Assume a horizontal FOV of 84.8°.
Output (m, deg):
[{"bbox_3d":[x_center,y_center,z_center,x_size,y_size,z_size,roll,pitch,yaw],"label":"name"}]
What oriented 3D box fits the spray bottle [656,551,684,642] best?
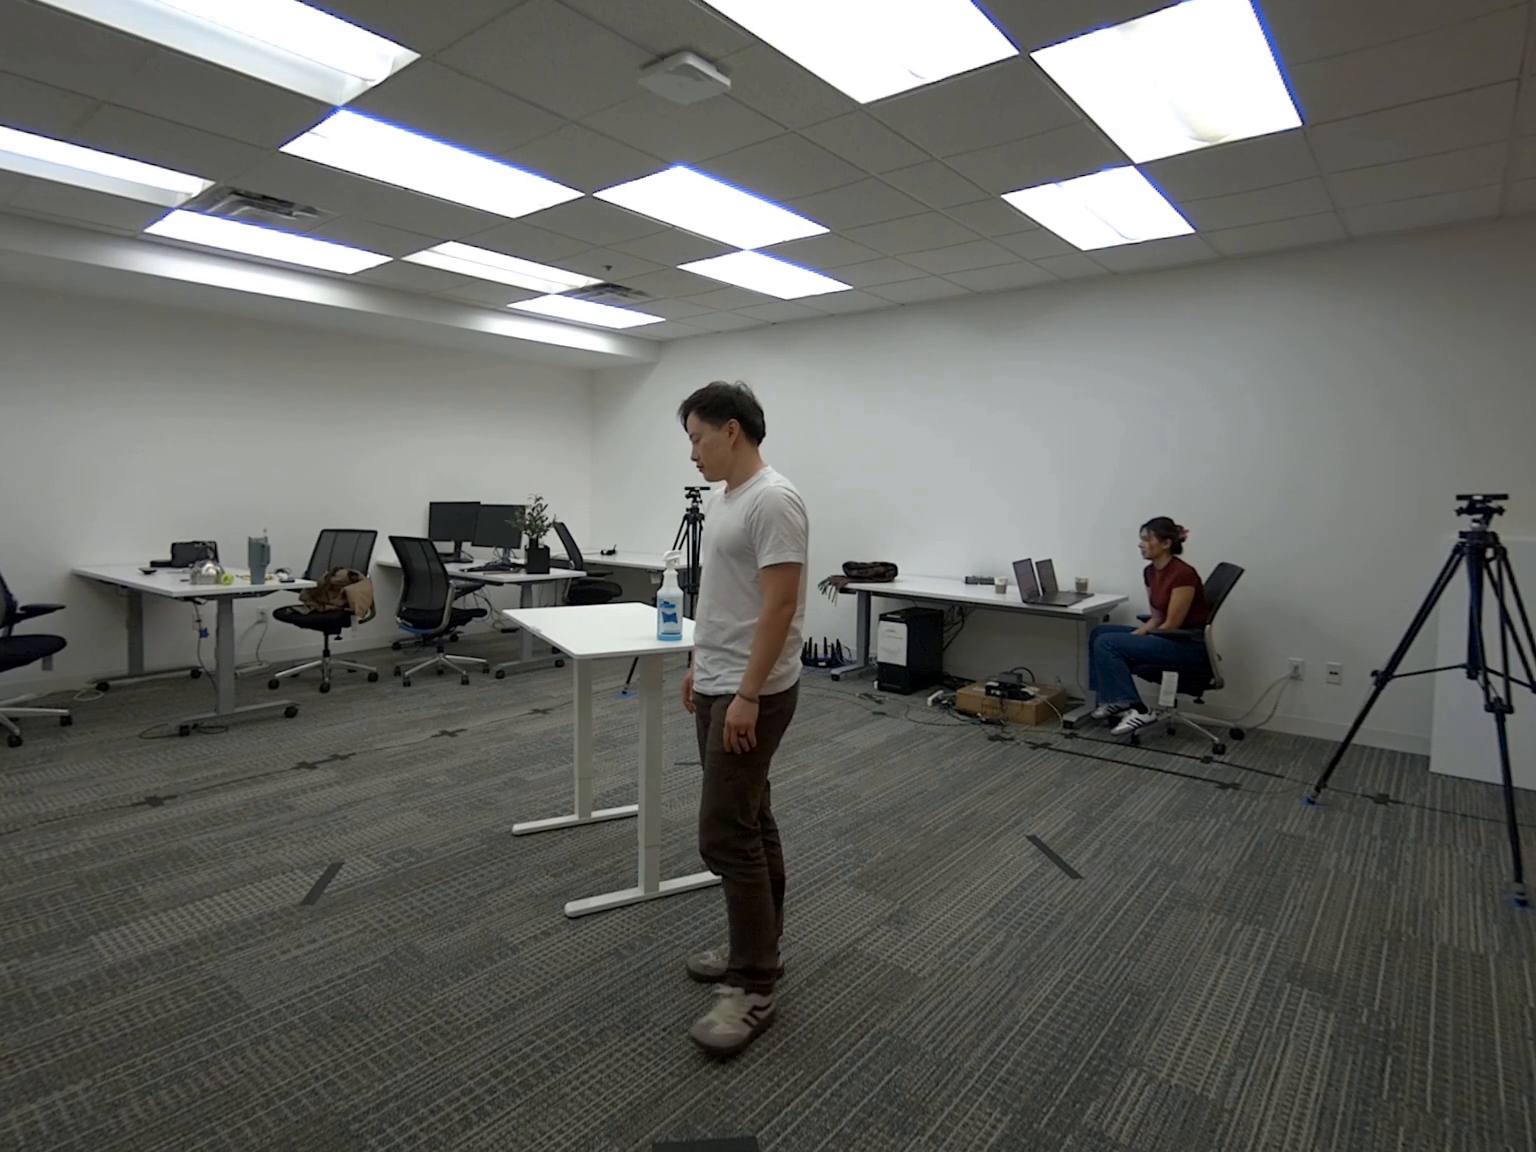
[{"bbox_3d":[-0.334,0.065,2.847,0.087,0.297,0.089,-1,1,-30],"label":"spray bottle"}]
